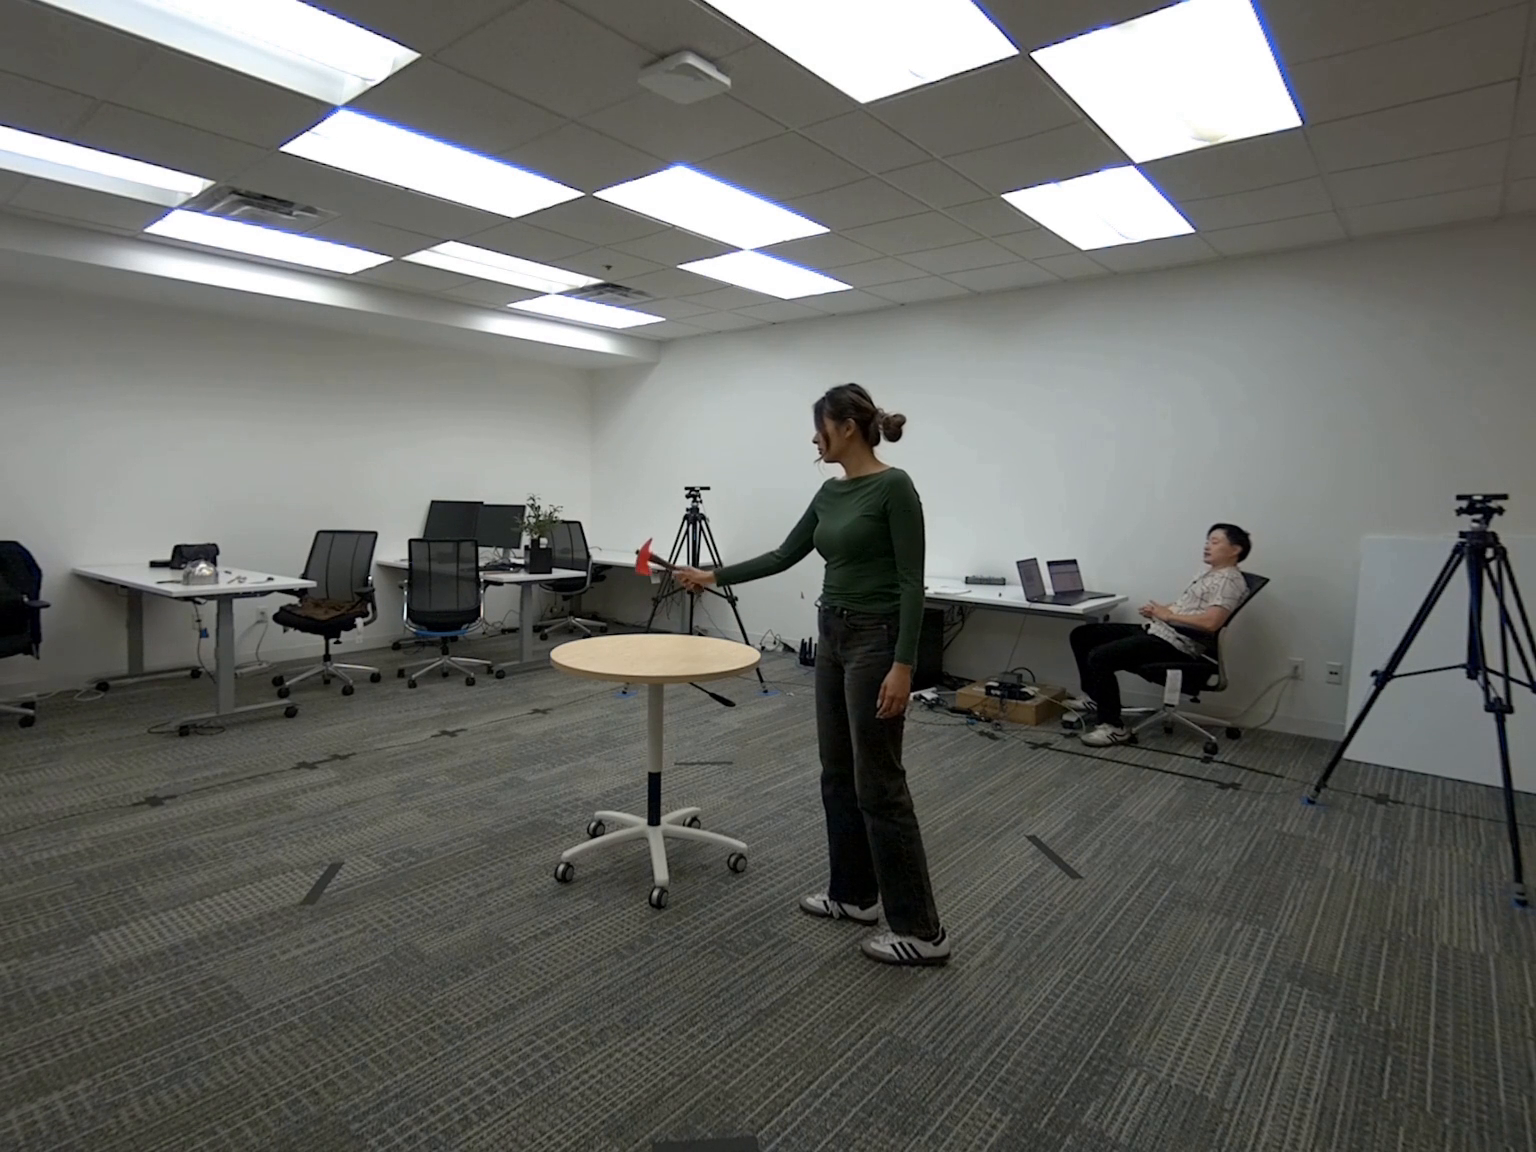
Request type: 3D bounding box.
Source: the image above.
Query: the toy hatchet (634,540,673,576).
[{"bbox_3d":[-0.348,-0.006,2.970,0.271,0.131,0.029,40,10,3],"label":"toy hatchet"}]
